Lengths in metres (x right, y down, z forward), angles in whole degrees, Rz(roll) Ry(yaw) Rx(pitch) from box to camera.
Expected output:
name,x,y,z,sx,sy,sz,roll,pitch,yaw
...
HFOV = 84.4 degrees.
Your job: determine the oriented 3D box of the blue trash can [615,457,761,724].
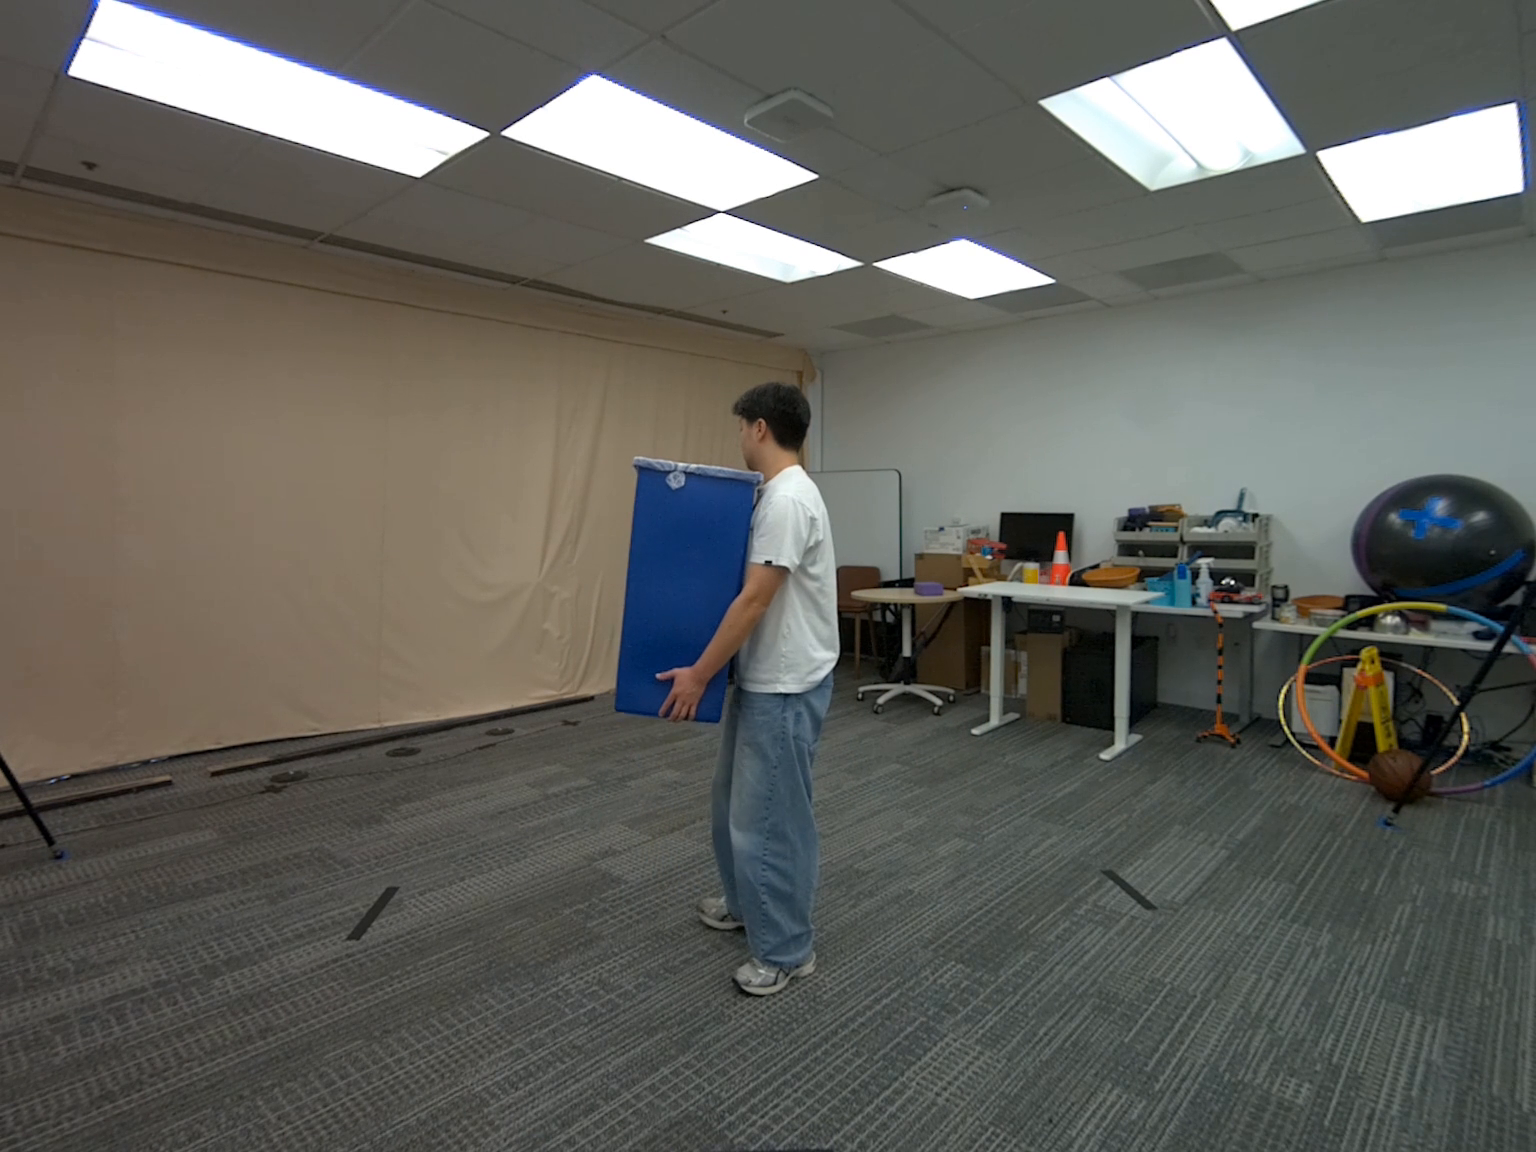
name,x,y,z,sx,sy,sz,roll,pitch,yaw
blue trash can,-0.259,0.034,2.517,0.377,0.713,0.375,7,0,-3
